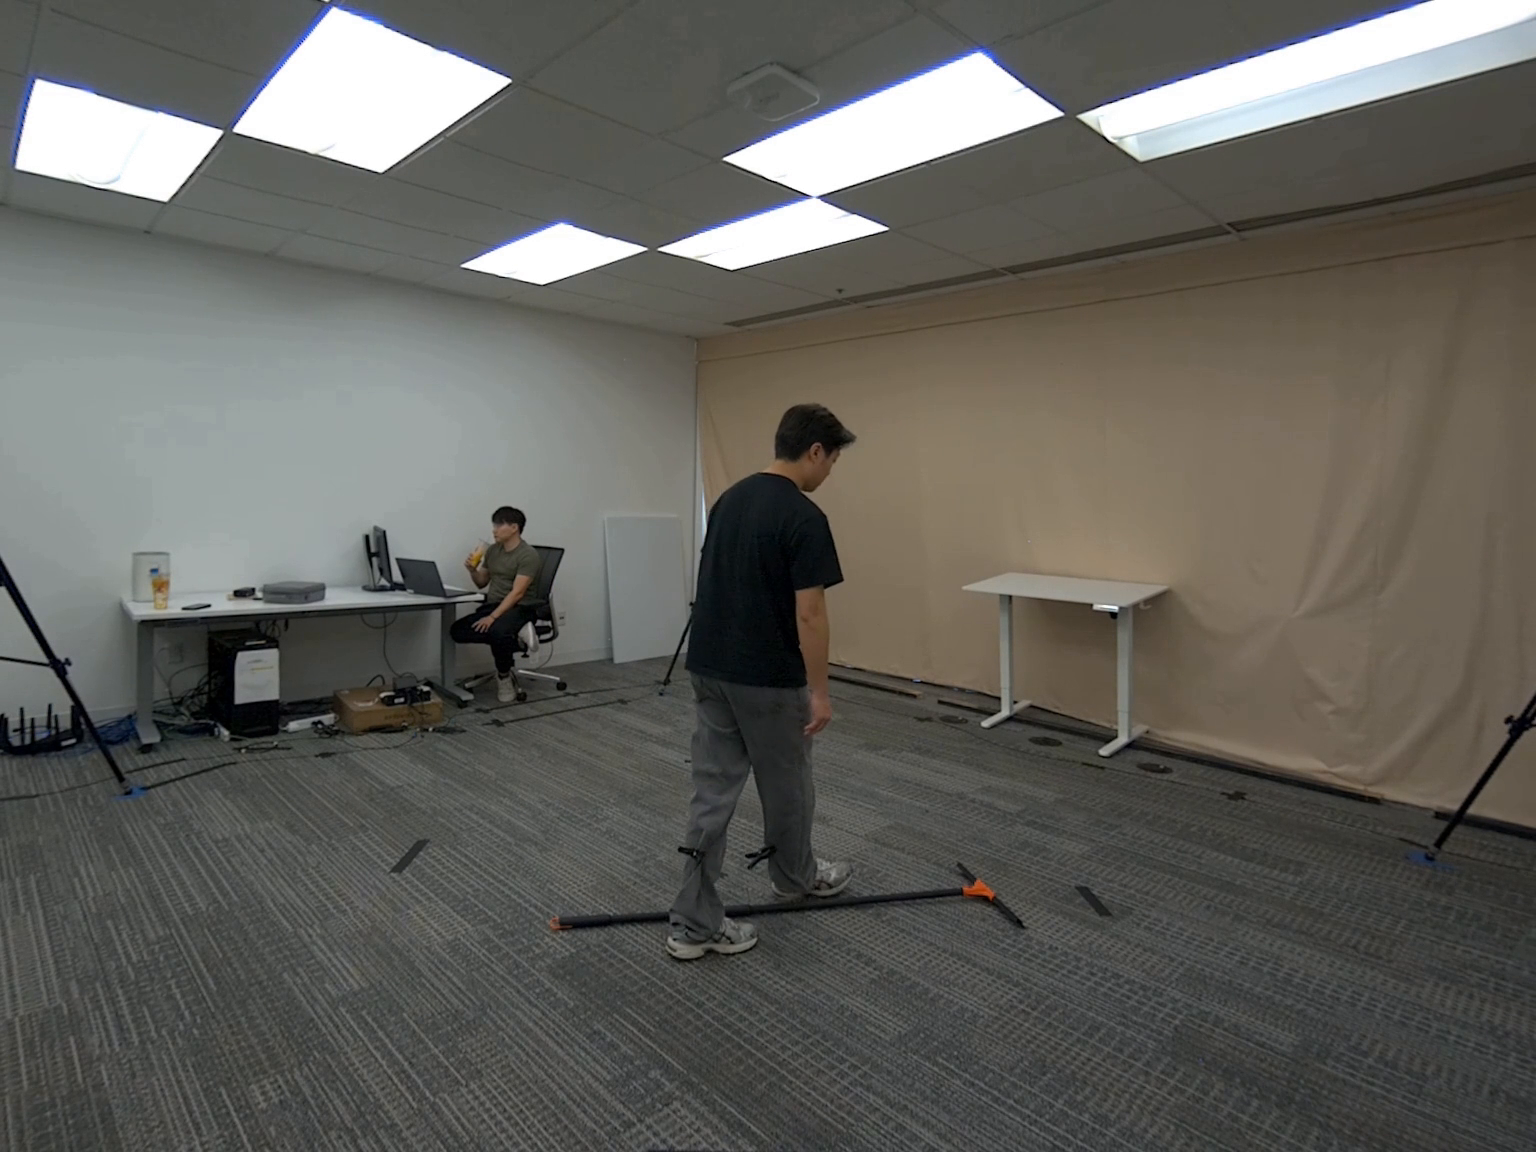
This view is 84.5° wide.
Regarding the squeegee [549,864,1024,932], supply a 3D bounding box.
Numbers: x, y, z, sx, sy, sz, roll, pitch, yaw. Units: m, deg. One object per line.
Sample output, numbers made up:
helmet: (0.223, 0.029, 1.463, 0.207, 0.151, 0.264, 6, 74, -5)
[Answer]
squeegee: (0.050, 1.075, 2.822, 1.522, 0.053, 0.443, 1, 5, -12)
